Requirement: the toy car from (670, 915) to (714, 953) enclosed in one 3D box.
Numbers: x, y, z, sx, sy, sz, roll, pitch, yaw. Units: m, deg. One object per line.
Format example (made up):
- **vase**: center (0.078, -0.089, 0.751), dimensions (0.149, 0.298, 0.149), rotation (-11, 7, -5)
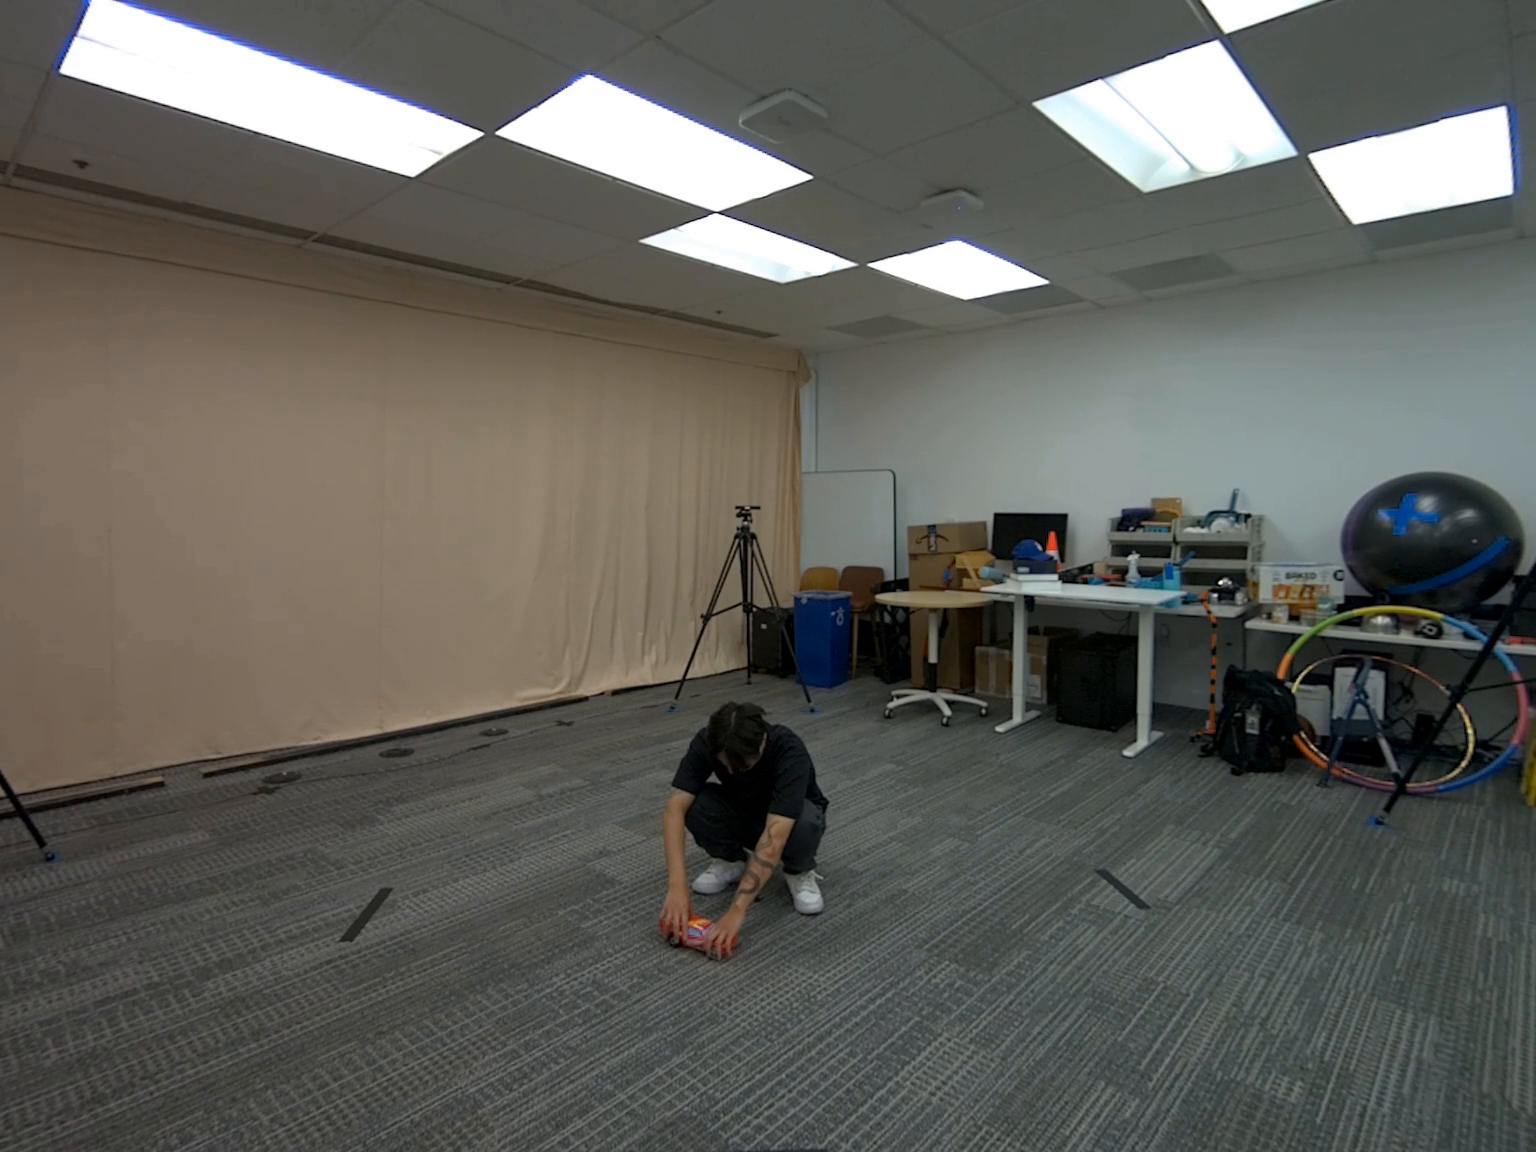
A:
- **toy car**: center (-0.224, 1.136, 2.672), dimensions (0.262, 0.083, 0.127), rotation (13, 12, 30)
